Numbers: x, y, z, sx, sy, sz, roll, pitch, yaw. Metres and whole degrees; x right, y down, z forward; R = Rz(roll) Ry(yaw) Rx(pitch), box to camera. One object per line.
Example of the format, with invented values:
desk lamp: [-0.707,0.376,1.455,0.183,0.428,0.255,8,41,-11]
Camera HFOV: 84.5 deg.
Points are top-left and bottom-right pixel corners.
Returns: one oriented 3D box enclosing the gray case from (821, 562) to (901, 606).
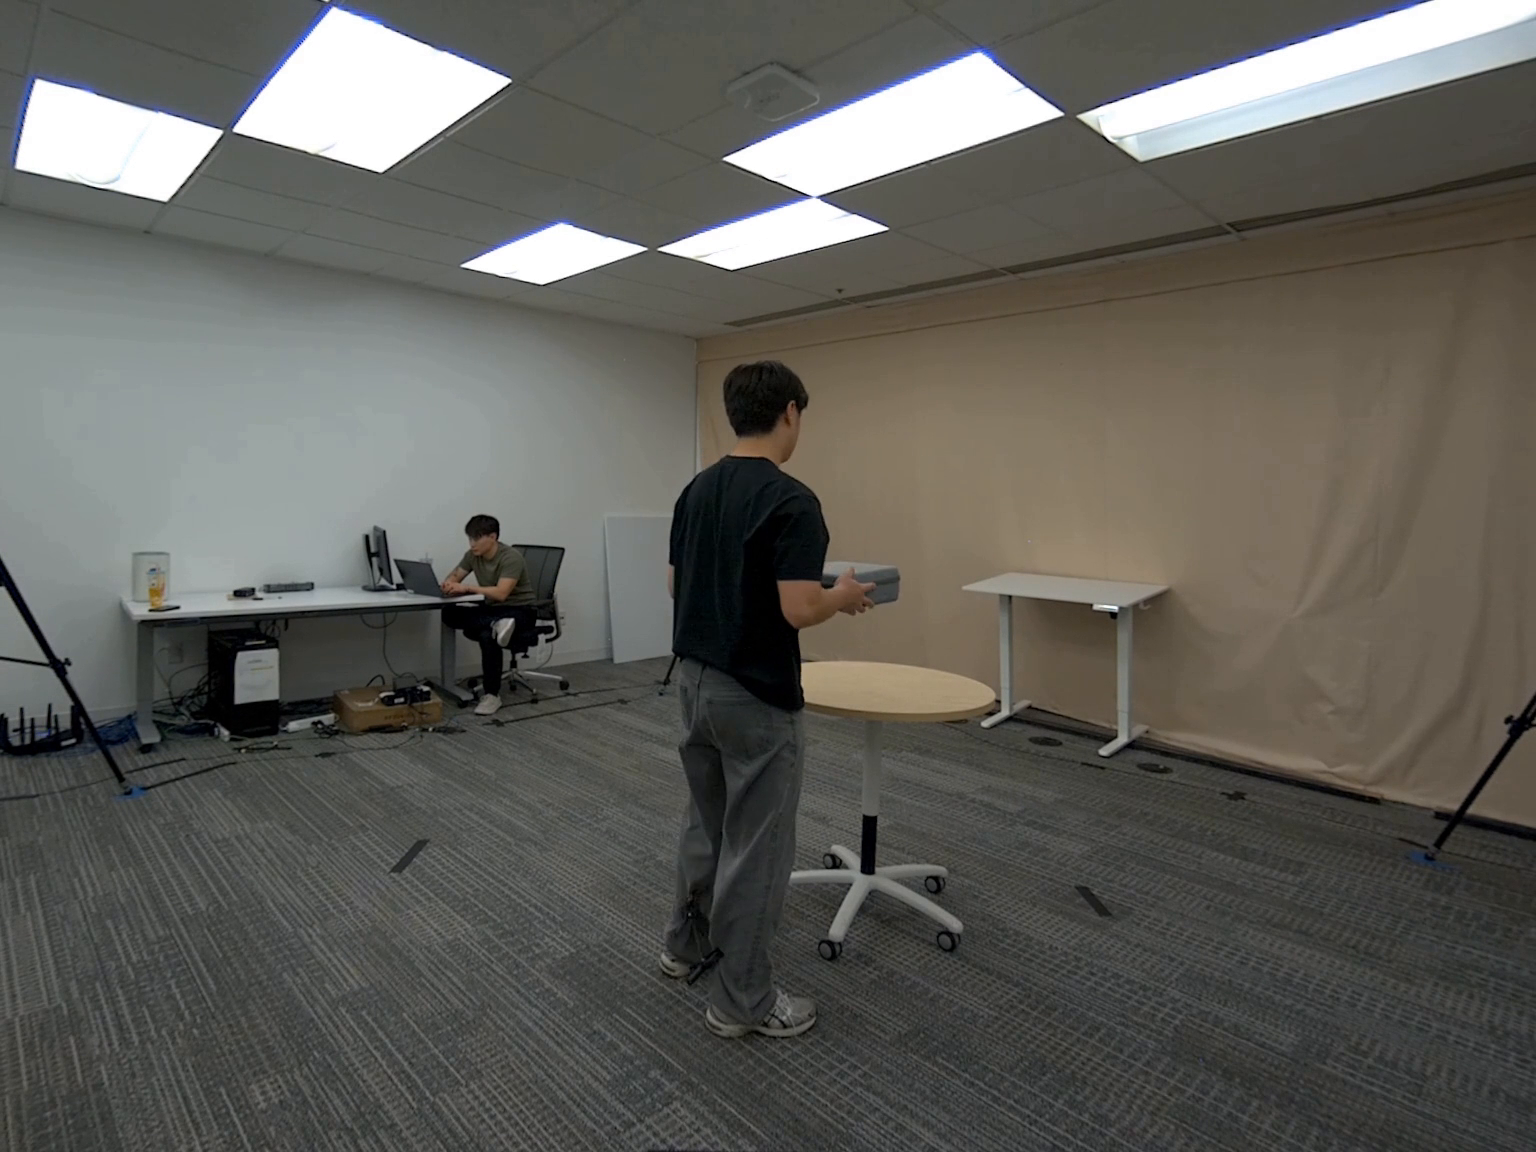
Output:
gray case: [0.174,0.027,2.405,0.281,0.102,0.269,-4,8,-31]
